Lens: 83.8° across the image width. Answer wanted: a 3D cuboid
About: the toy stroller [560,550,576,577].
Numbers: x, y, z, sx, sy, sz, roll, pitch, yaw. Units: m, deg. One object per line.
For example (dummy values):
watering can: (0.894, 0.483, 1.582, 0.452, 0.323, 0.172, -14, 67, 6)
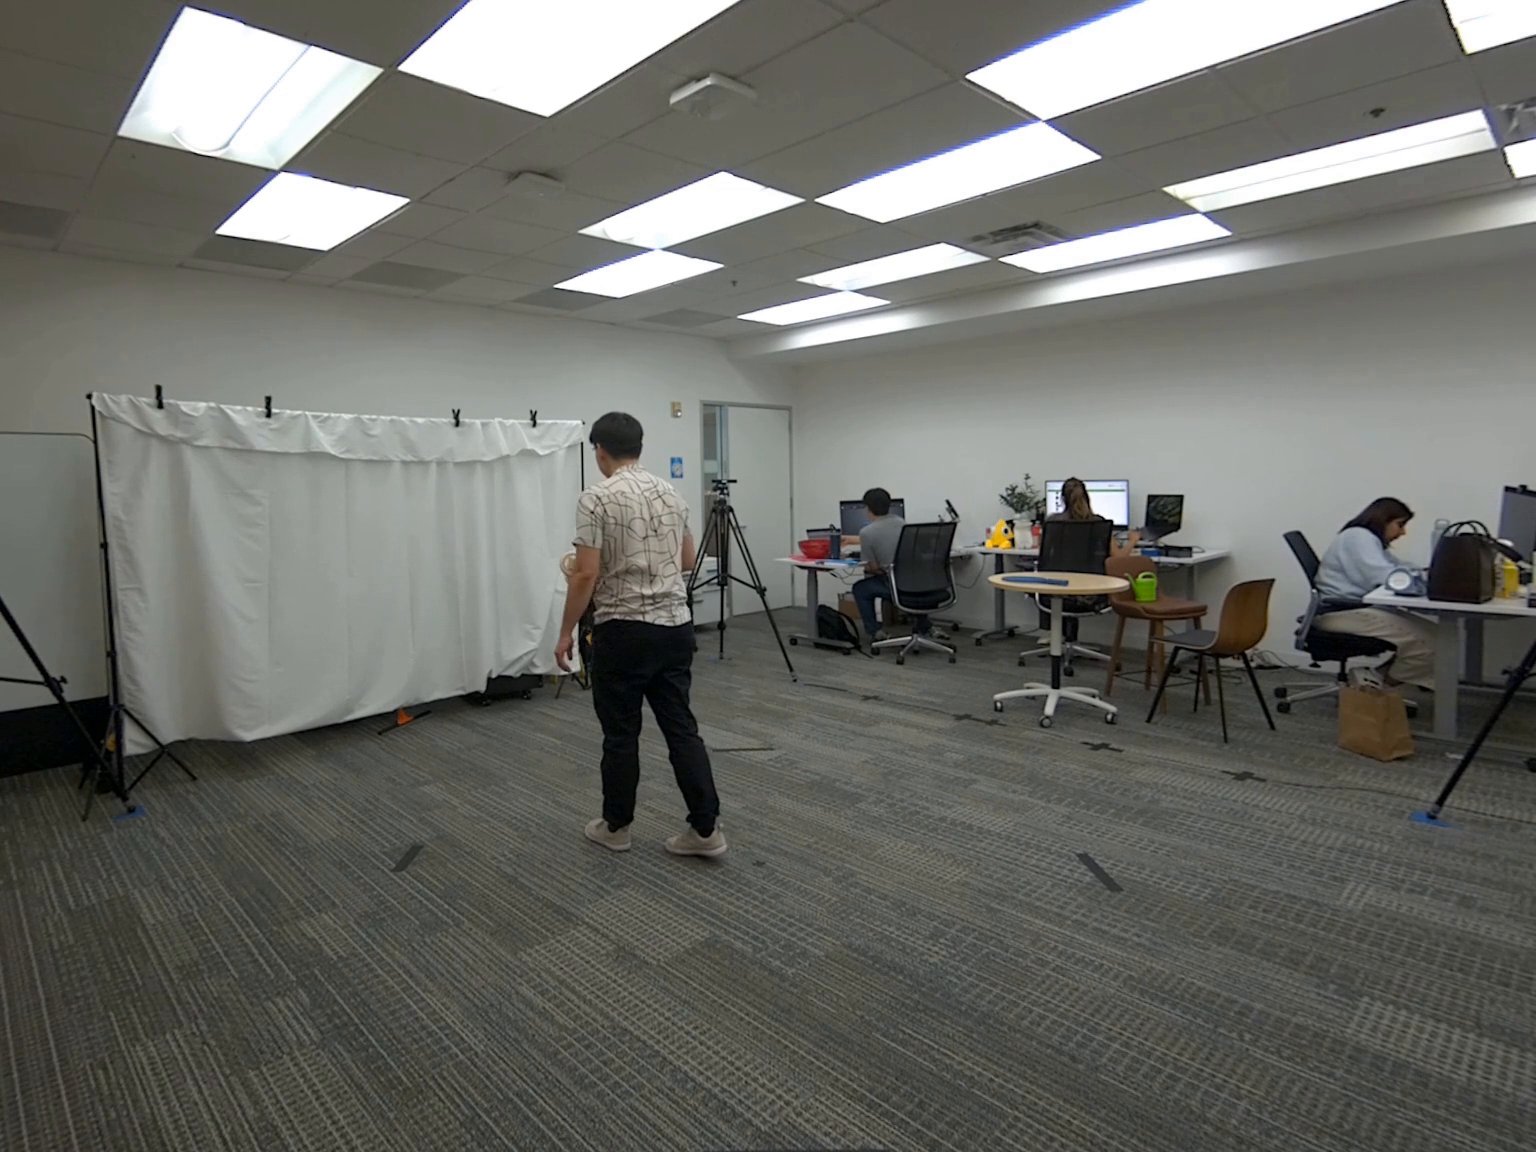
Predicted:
toy stroller: (-0.638, -0.013, 3.674, 0.539, 0.342, 0.279, 37, -18, 5)
